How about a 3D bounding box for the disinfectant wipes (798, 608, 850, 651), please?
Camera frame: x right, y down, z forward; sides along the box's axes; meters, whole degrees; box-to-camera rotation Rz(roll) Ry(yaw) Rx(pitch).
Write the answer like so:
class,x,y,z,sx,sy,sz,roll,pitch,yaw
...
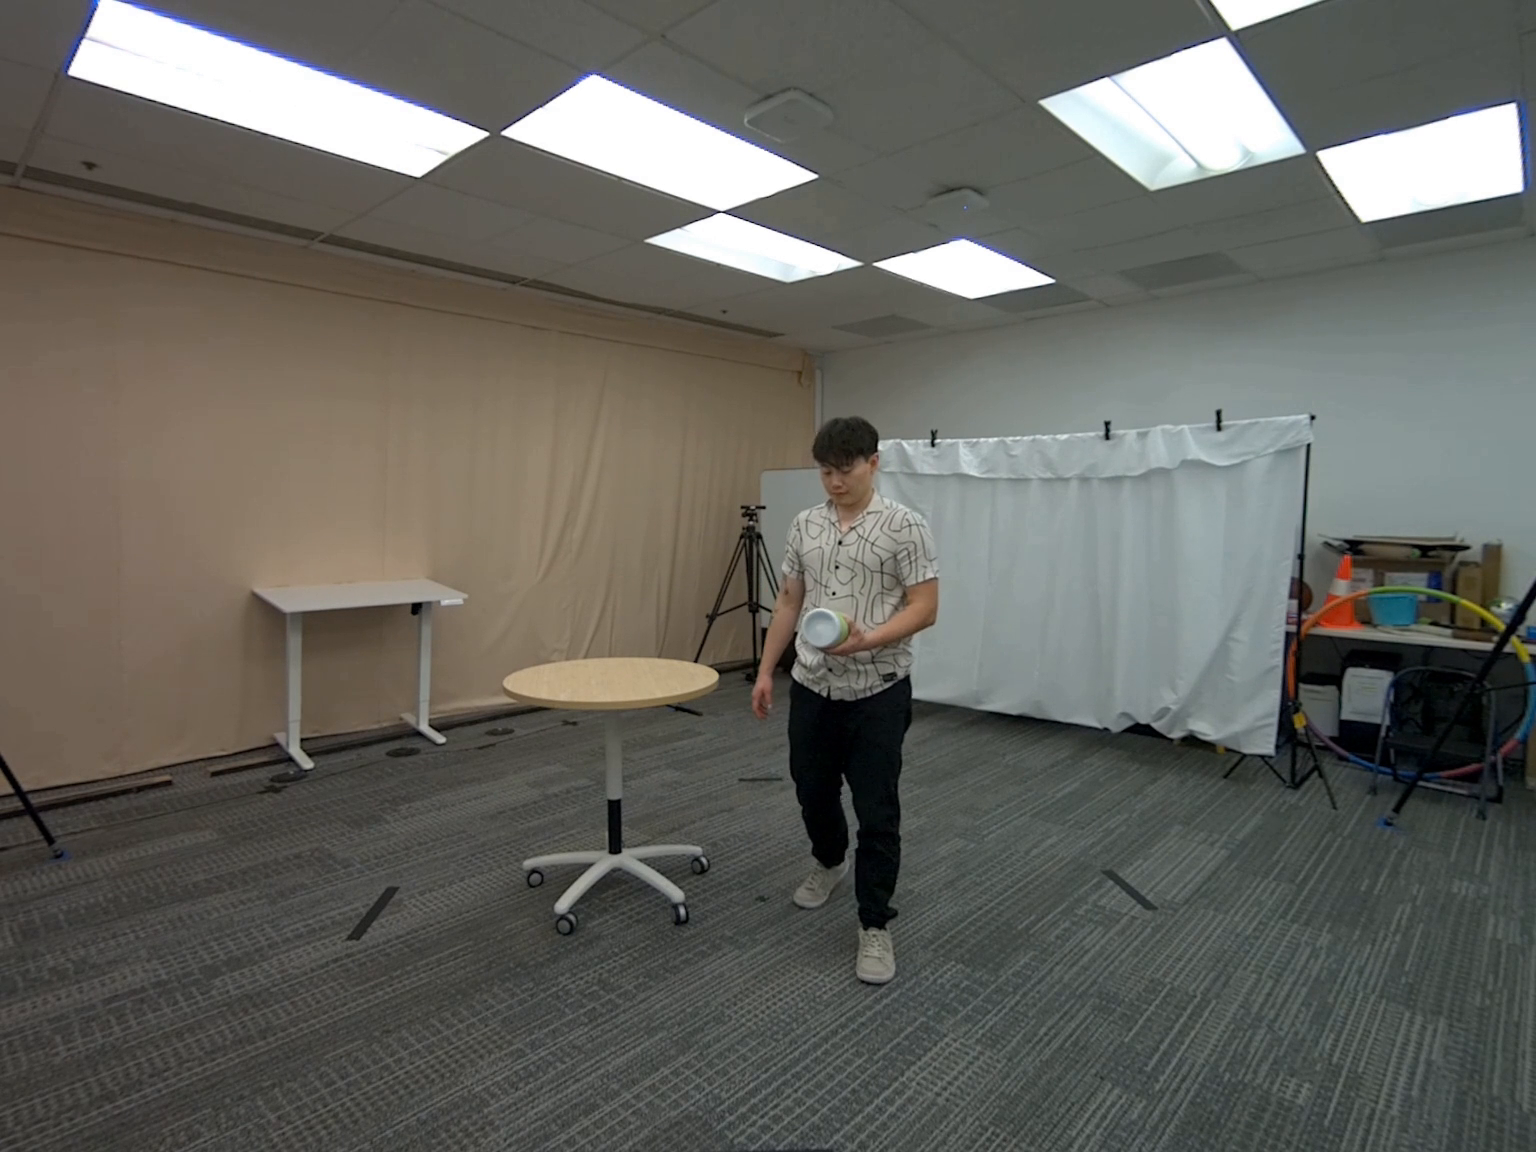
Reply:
class,x,y,z,sx,sy,sz,roll,pitch,yaw
disinfectant wipes,0.180,0.158,2.411,0.120,0.118,0.212,1,-7,16
